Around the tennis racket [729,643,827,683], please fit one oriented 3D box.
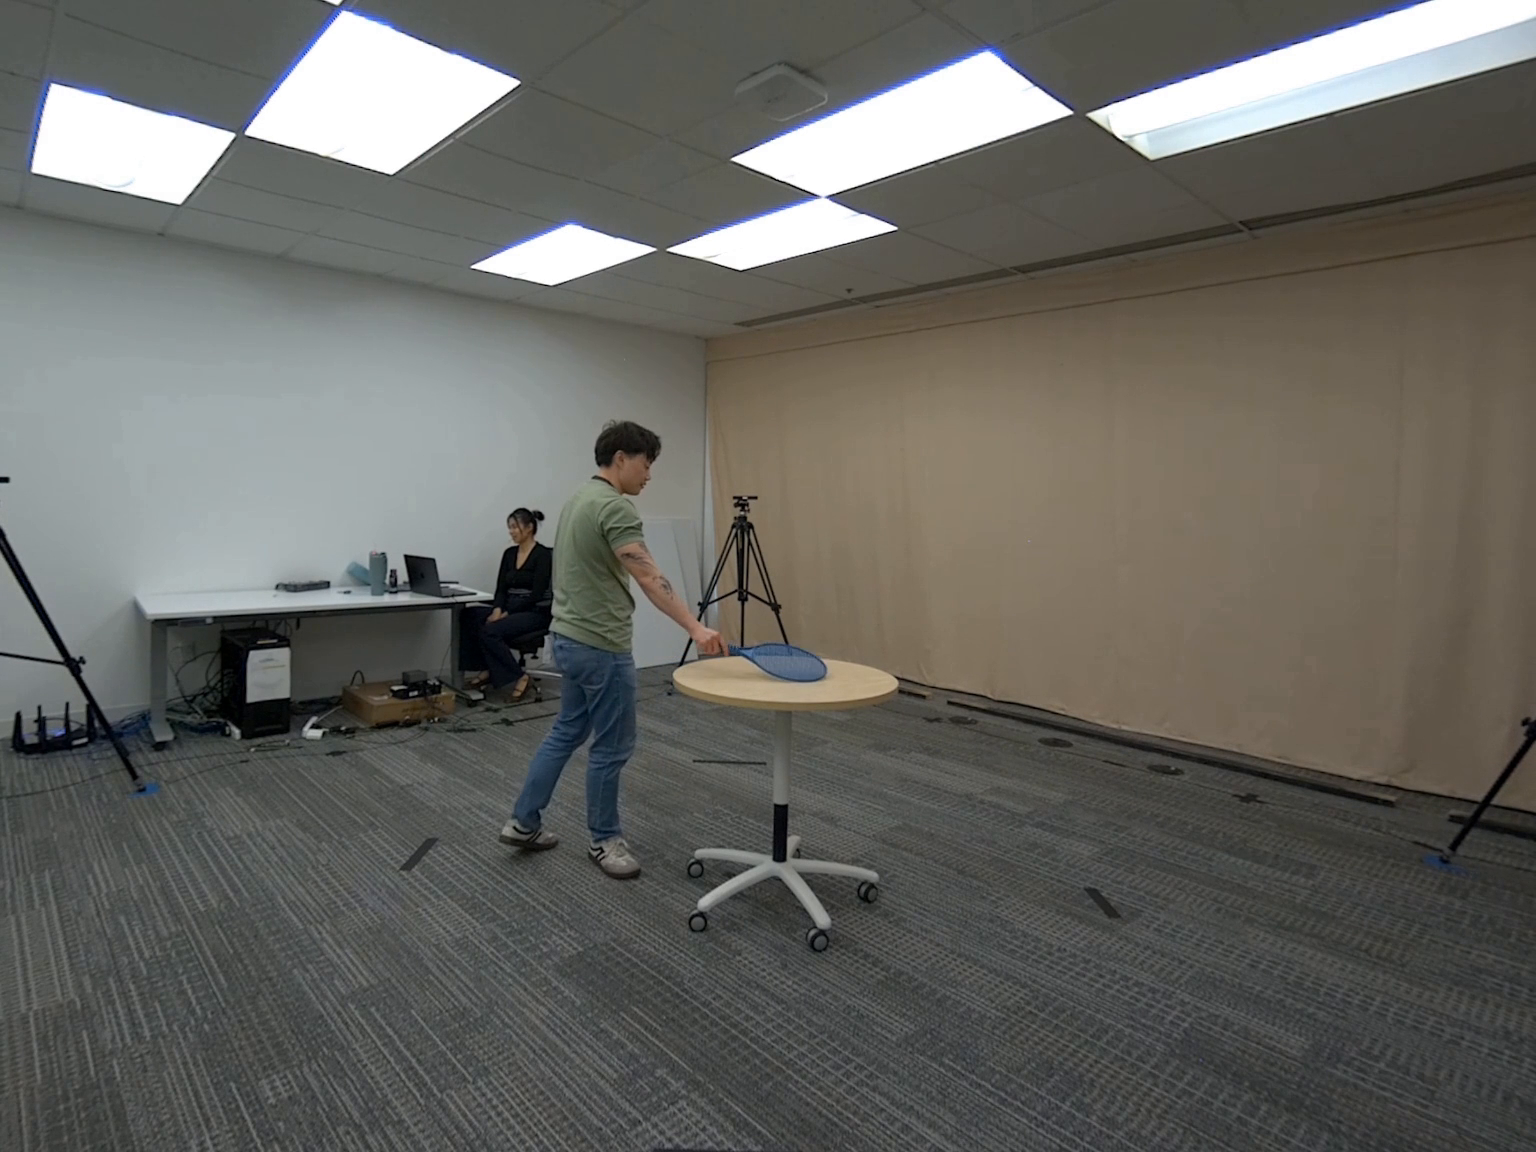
[{"bbox_3d":[-0.015,0.277,2.865,0.435,0.031,0.214,14,17,6],"label":"tennis racket"}]
